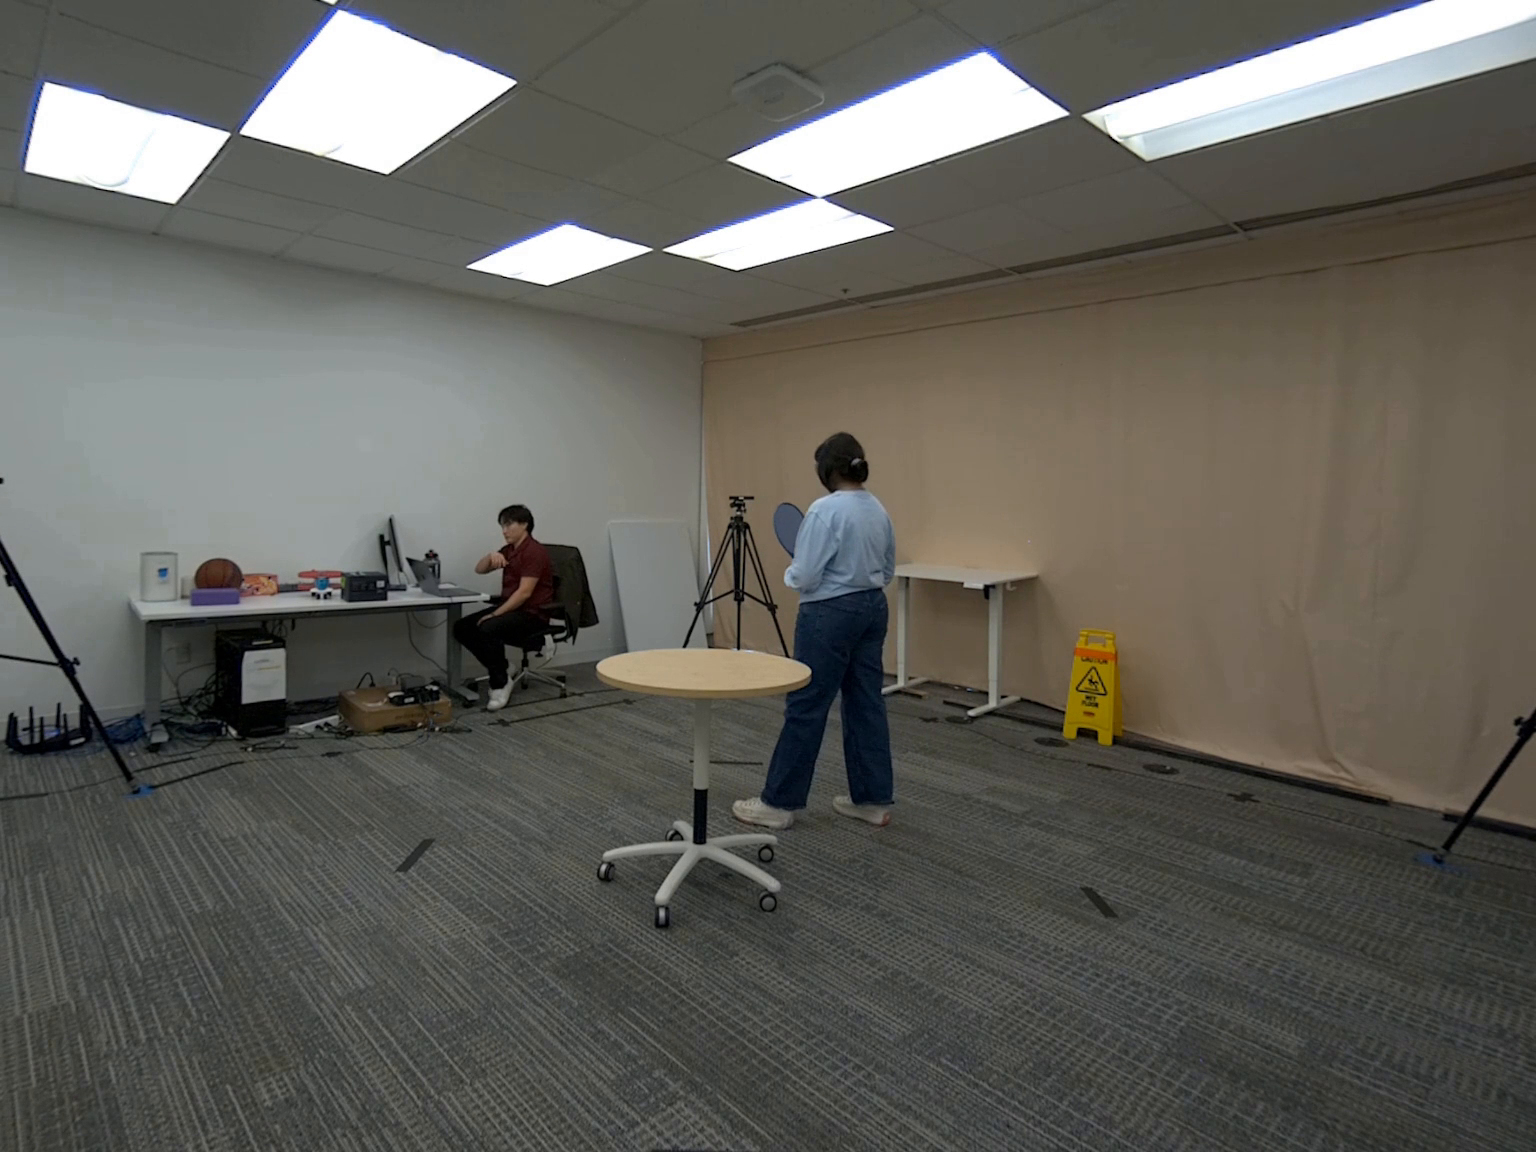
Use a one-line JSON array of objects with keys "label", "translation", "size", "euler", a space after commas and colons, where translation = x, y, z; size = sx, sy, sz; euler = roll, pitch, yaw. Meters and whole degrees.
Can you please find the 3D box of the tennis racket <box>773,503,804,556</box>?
[{"label": "tennis racket", "translation": [0.119, -0.141, 3.842], "size": [0.208, 0.441, 0.032], "euler": [9, -28, -37]}]
